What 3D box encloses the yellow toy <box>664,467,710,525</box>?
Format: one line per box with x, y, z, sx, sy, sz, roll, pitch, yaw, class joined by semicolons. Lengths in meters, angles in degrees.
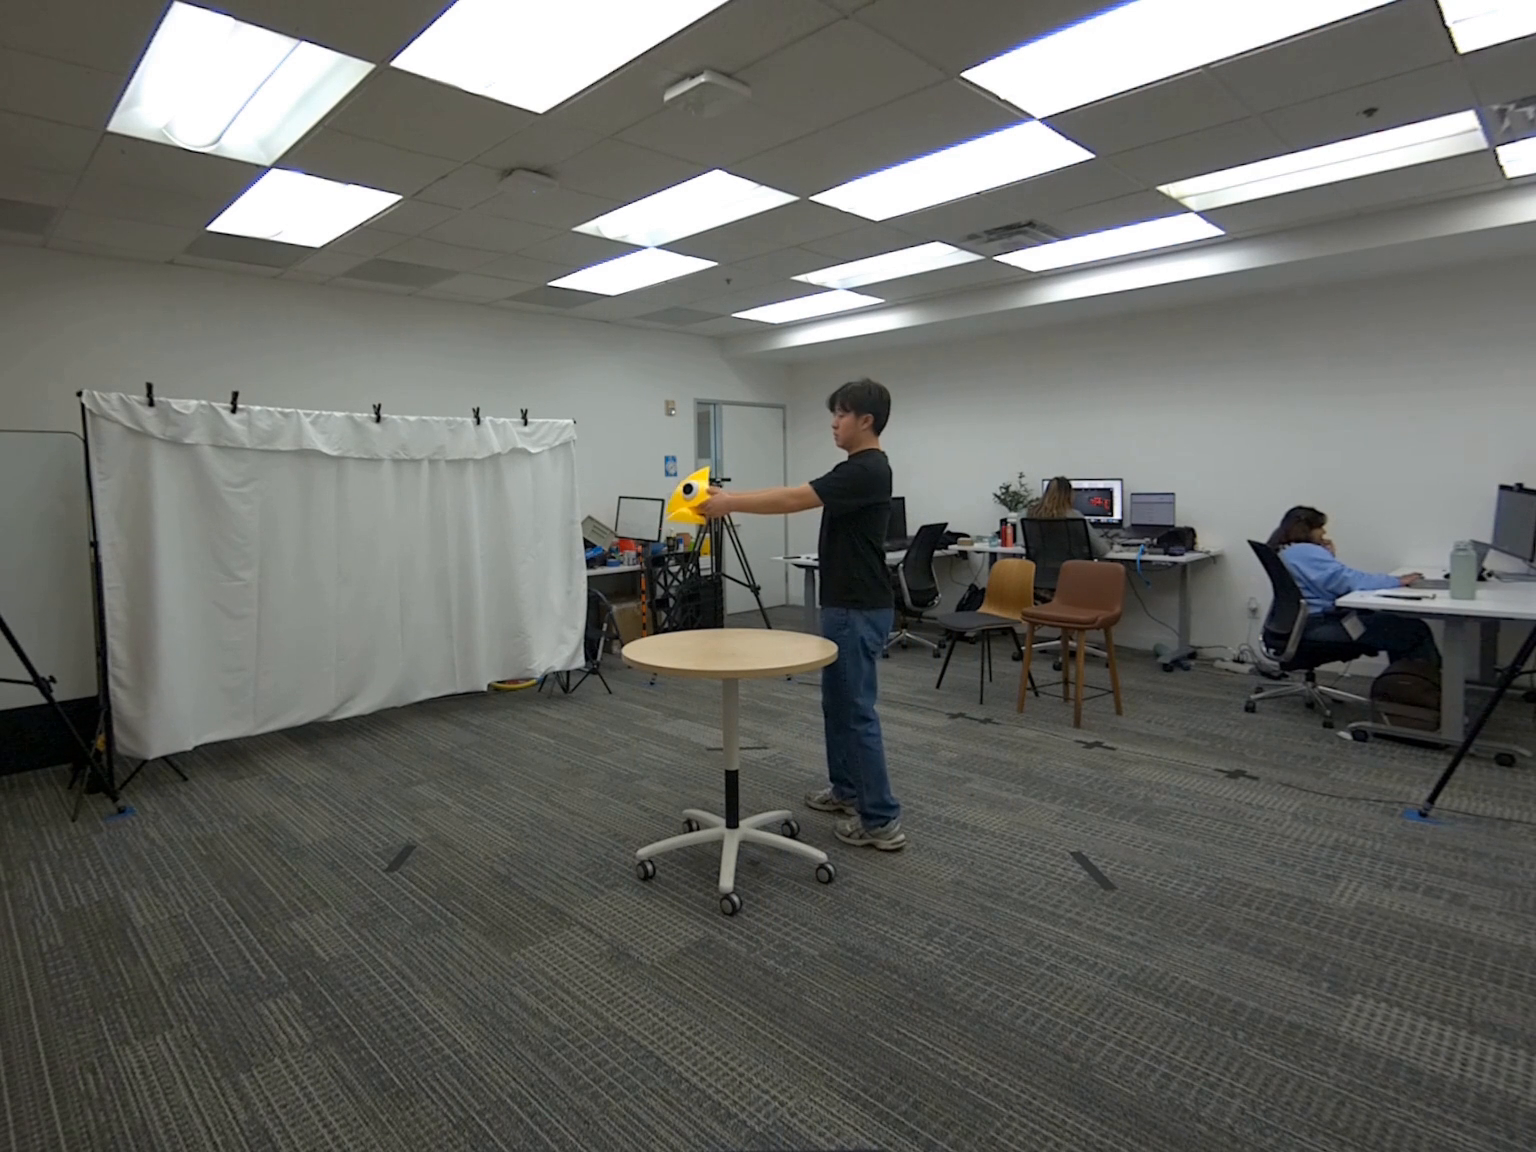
-0.290;-0.328;3.405;0.193;0.230;0.205;5;3;-2;yellow toy
